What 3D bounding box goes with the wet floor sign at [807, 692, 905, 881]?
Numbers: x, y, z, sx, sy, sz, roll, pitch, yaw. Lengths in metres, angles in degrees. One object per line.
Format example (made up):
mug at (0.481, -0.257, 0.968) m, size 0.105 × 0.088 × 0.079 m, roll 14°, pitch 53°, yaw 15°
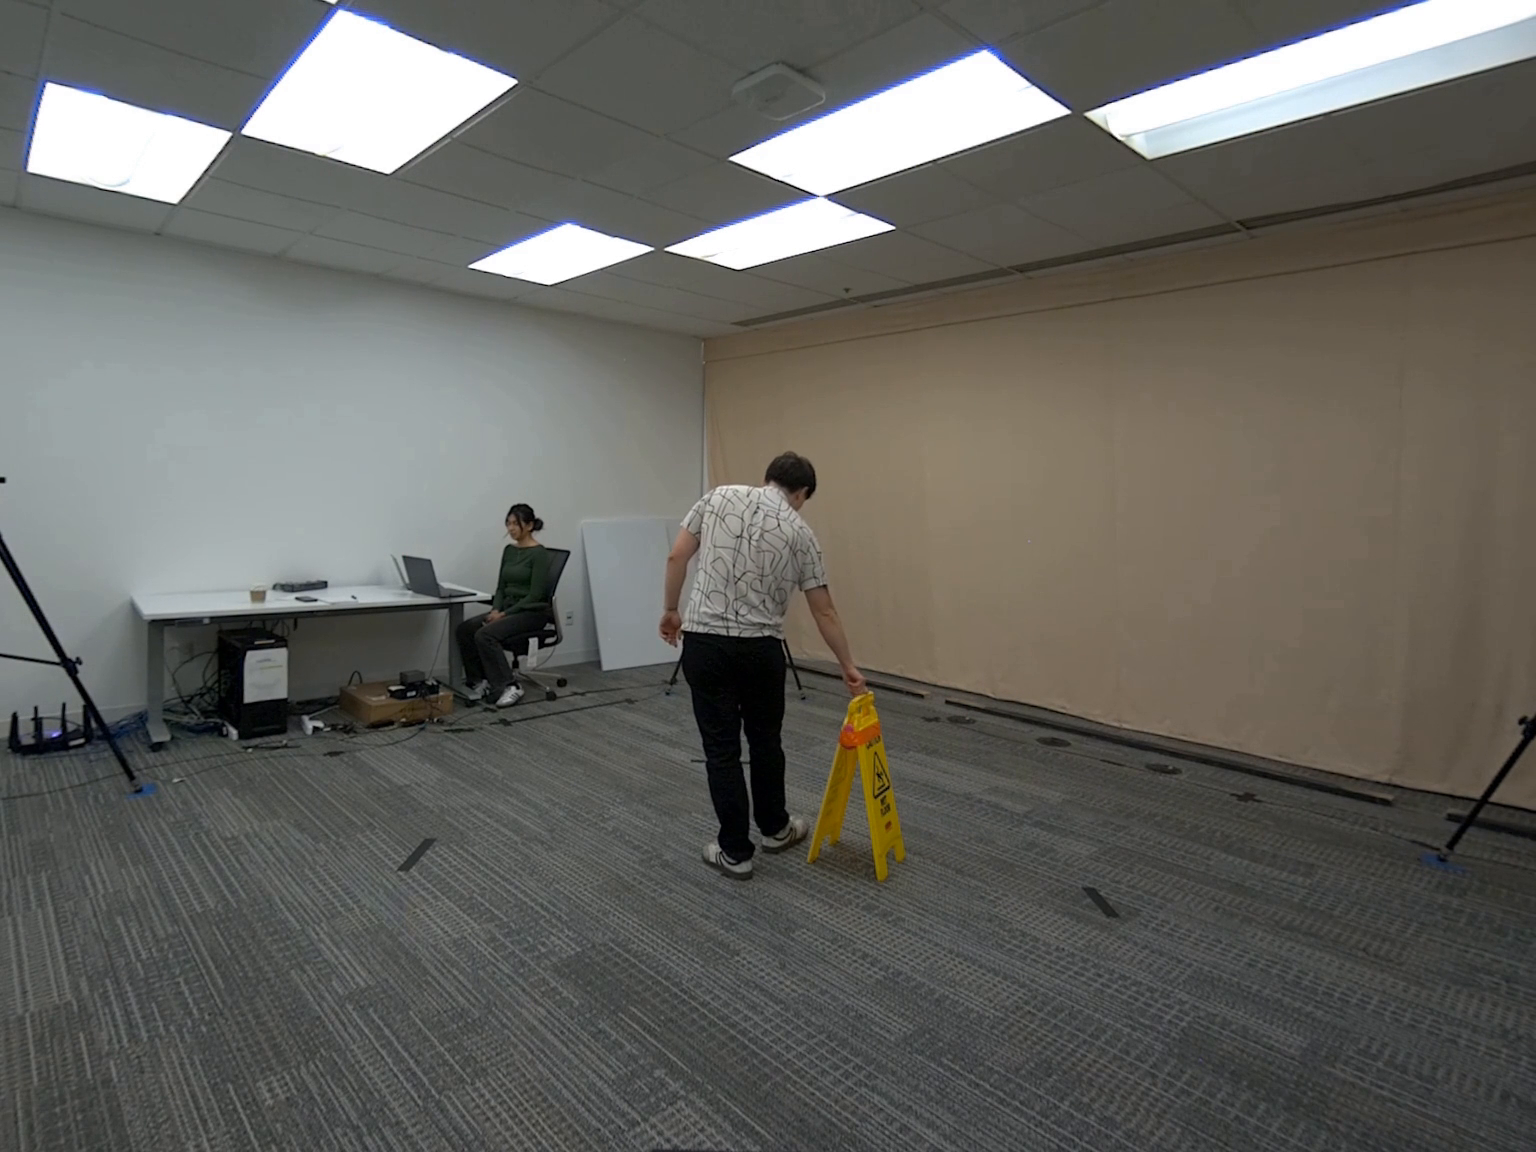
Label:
wet floor sign at (0.341, 0.776, 3.244) m, size 0.296 × 0.645 × 0.277 m, roll 2°, pitch 2°, yaw 29°
